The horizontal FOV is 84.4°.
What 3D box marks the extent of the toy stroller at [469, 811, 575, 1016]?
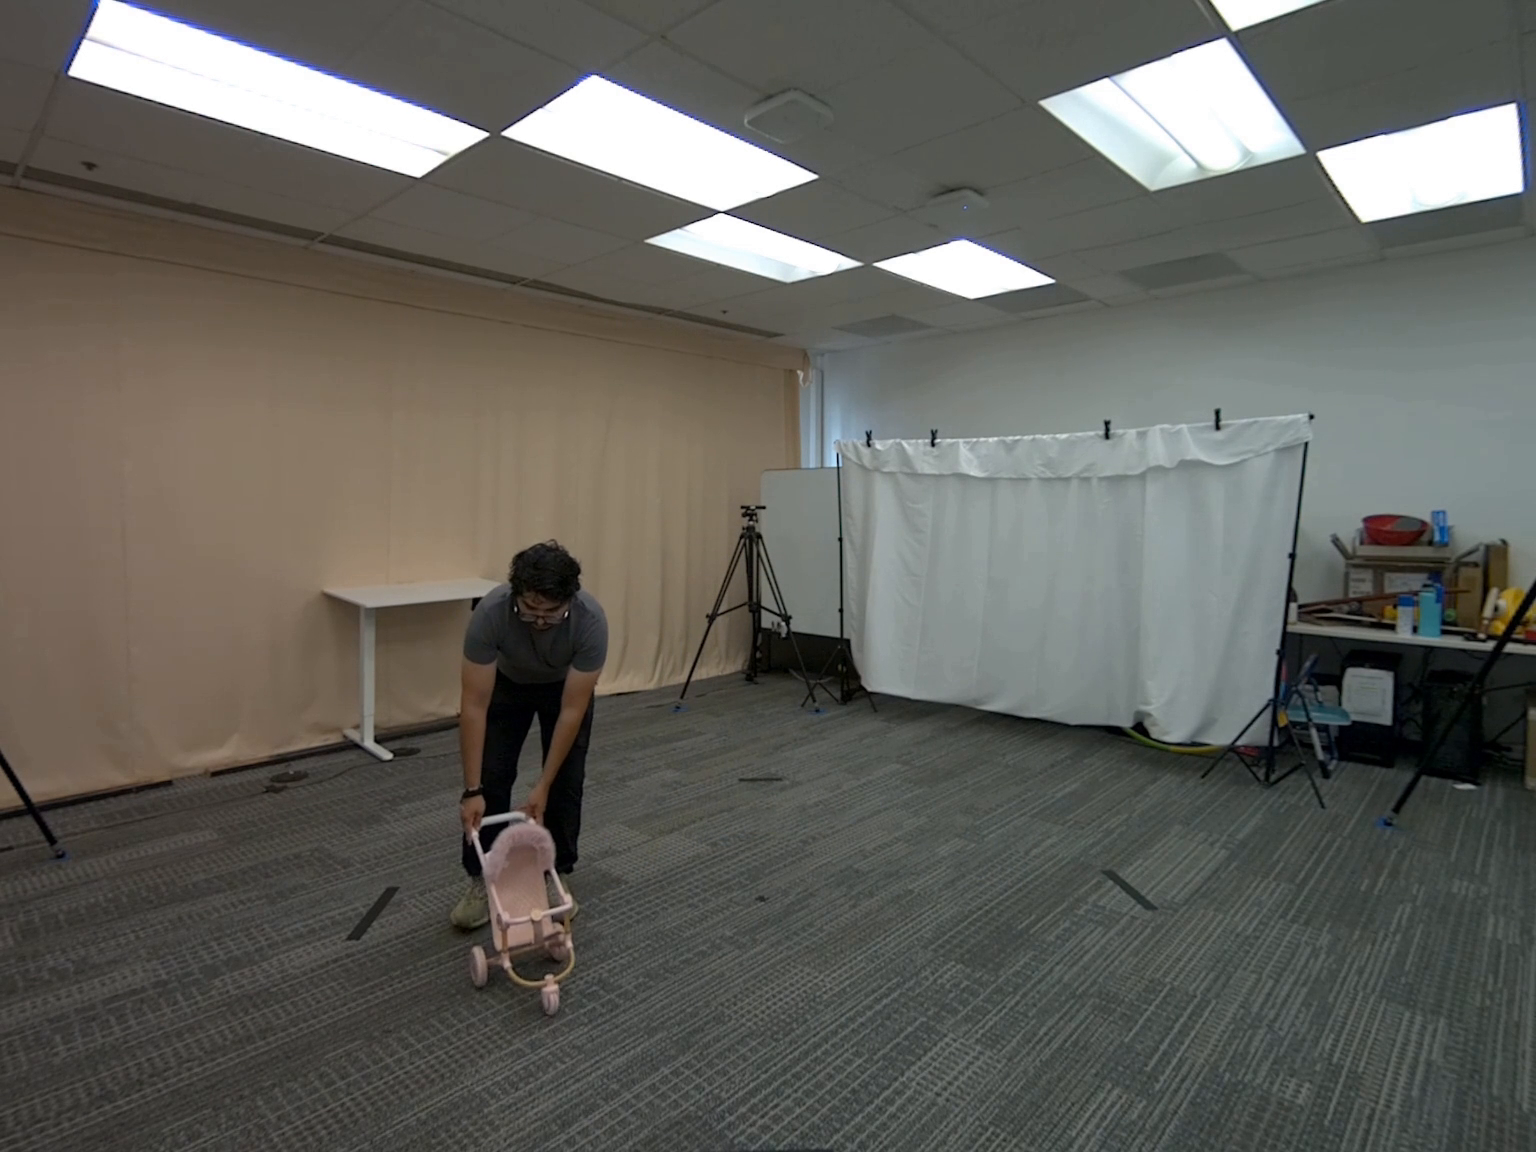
[{"bbox_3d":[-0.709,0.970,2.458,0.274,0.539,0.348,-2,-12,-31],"label":"toy stroller"}]
